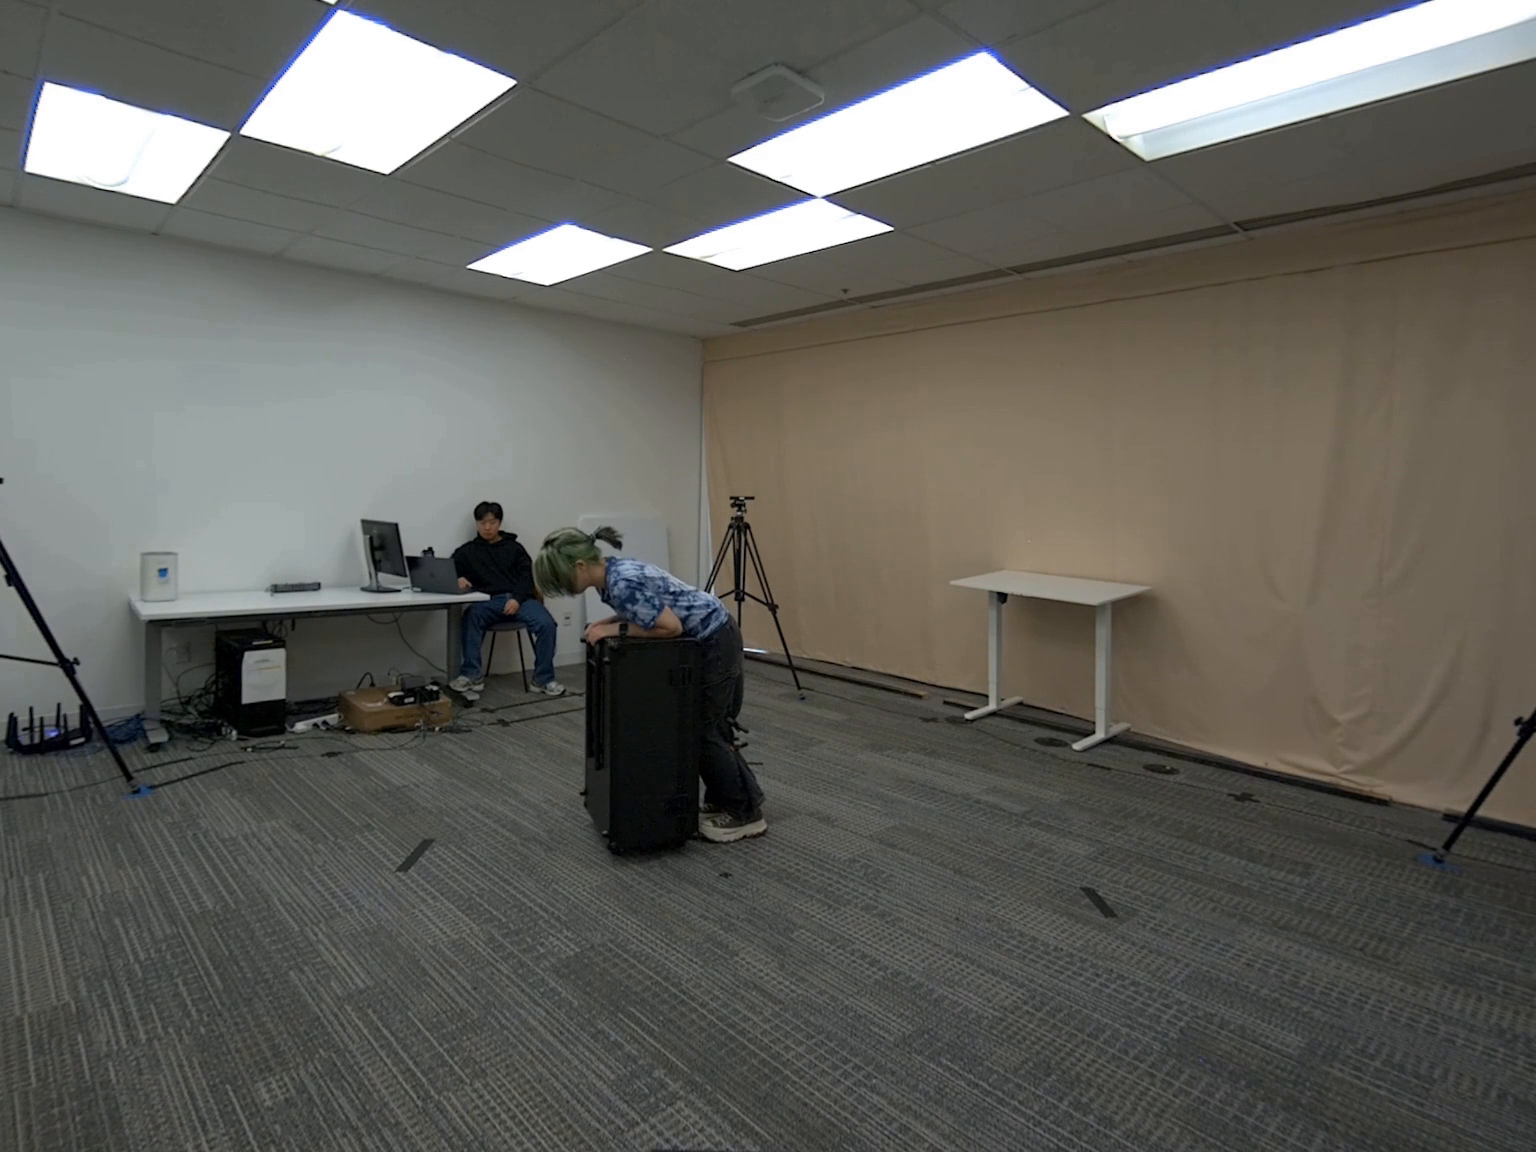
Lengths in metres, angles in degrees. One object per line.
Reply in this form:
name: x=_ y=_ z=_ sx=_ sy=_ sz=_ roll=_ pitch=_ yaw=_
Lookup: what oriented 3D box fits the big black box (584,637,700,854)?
big black box: x=-0.540 y=0.589 z=3.381 sx=0.390 sy=0.859 sz=0.531 roll=-1 pitch=4 yaw=-22
